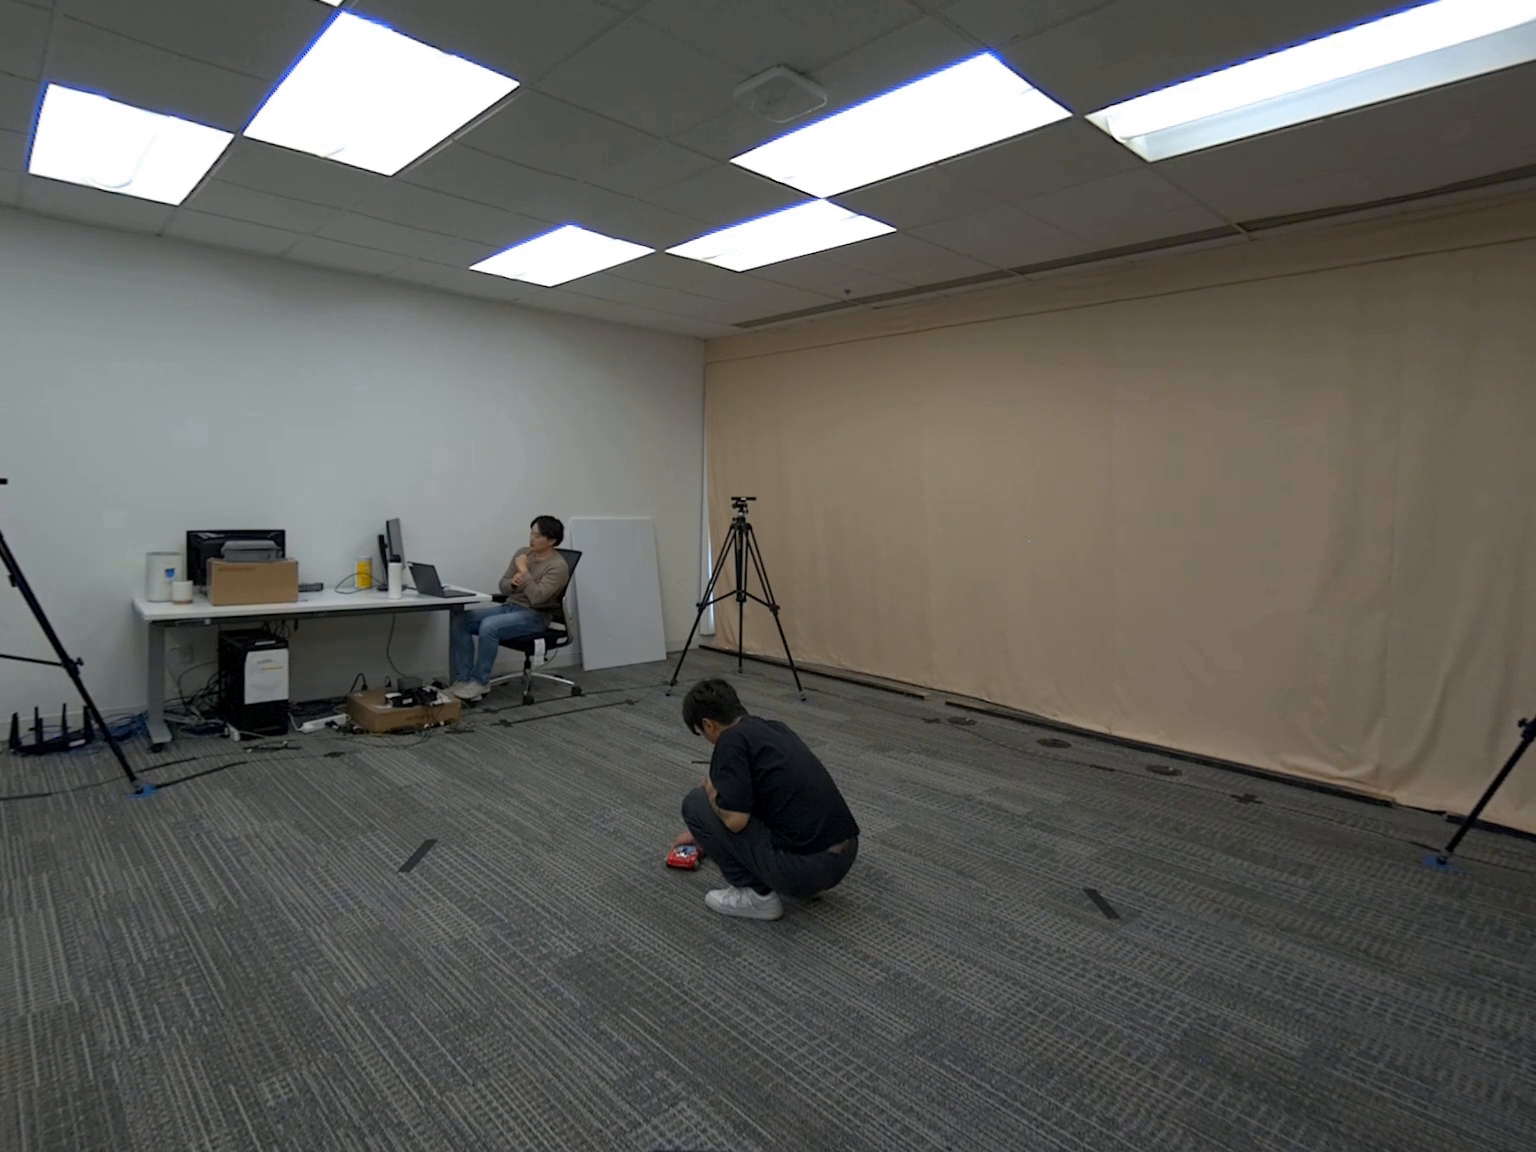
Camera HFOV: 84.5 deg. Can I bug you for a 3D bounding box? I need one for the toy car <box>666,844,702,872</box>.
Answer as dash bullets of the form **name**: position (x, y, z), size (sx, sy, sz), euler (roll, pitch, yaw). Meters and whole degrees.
- **toy car**: position (-0.305, 1.060, 3.256), size (0.132, 0.082, 0.254), euler (2, 15, 13)
